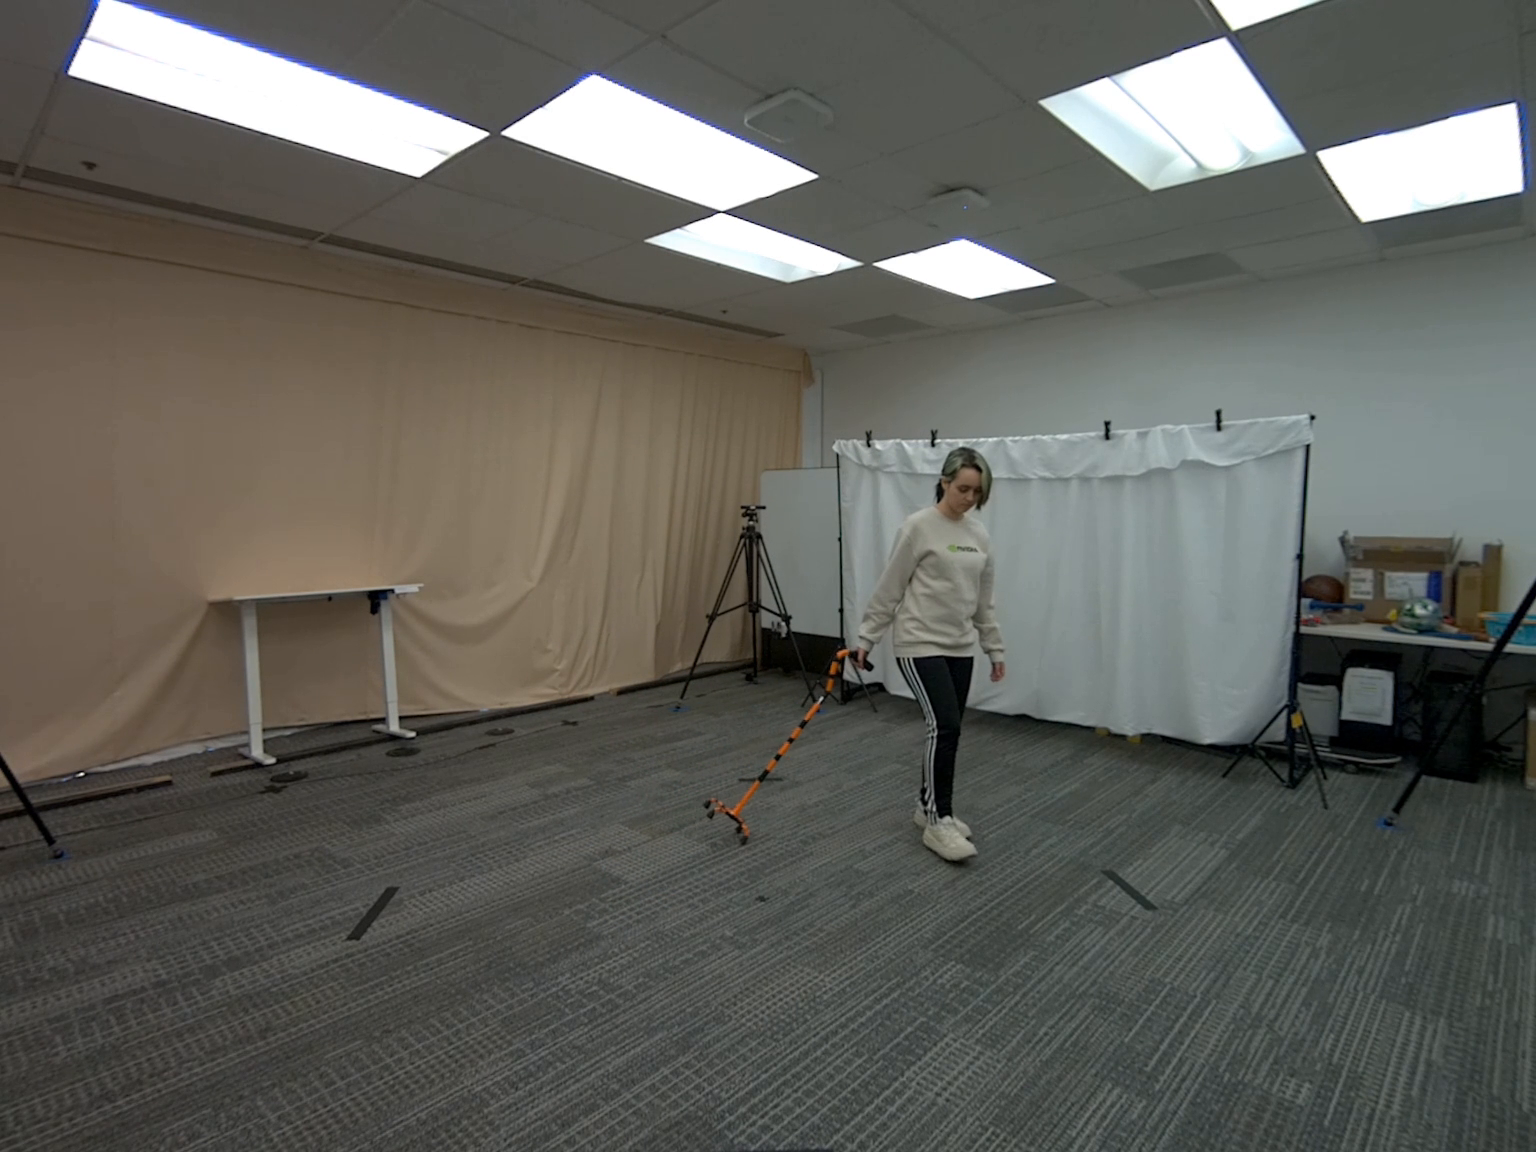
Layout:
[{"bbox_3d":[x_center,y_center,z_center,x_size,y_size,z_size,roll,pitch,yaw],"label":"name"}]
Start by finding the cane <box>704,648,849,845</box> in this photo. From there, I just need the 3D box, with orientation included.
[{"bbox_3d":[0.089,0.686,3.533,0.205,0.907,0.153,38,-3,-8],"label":"cane"}]
